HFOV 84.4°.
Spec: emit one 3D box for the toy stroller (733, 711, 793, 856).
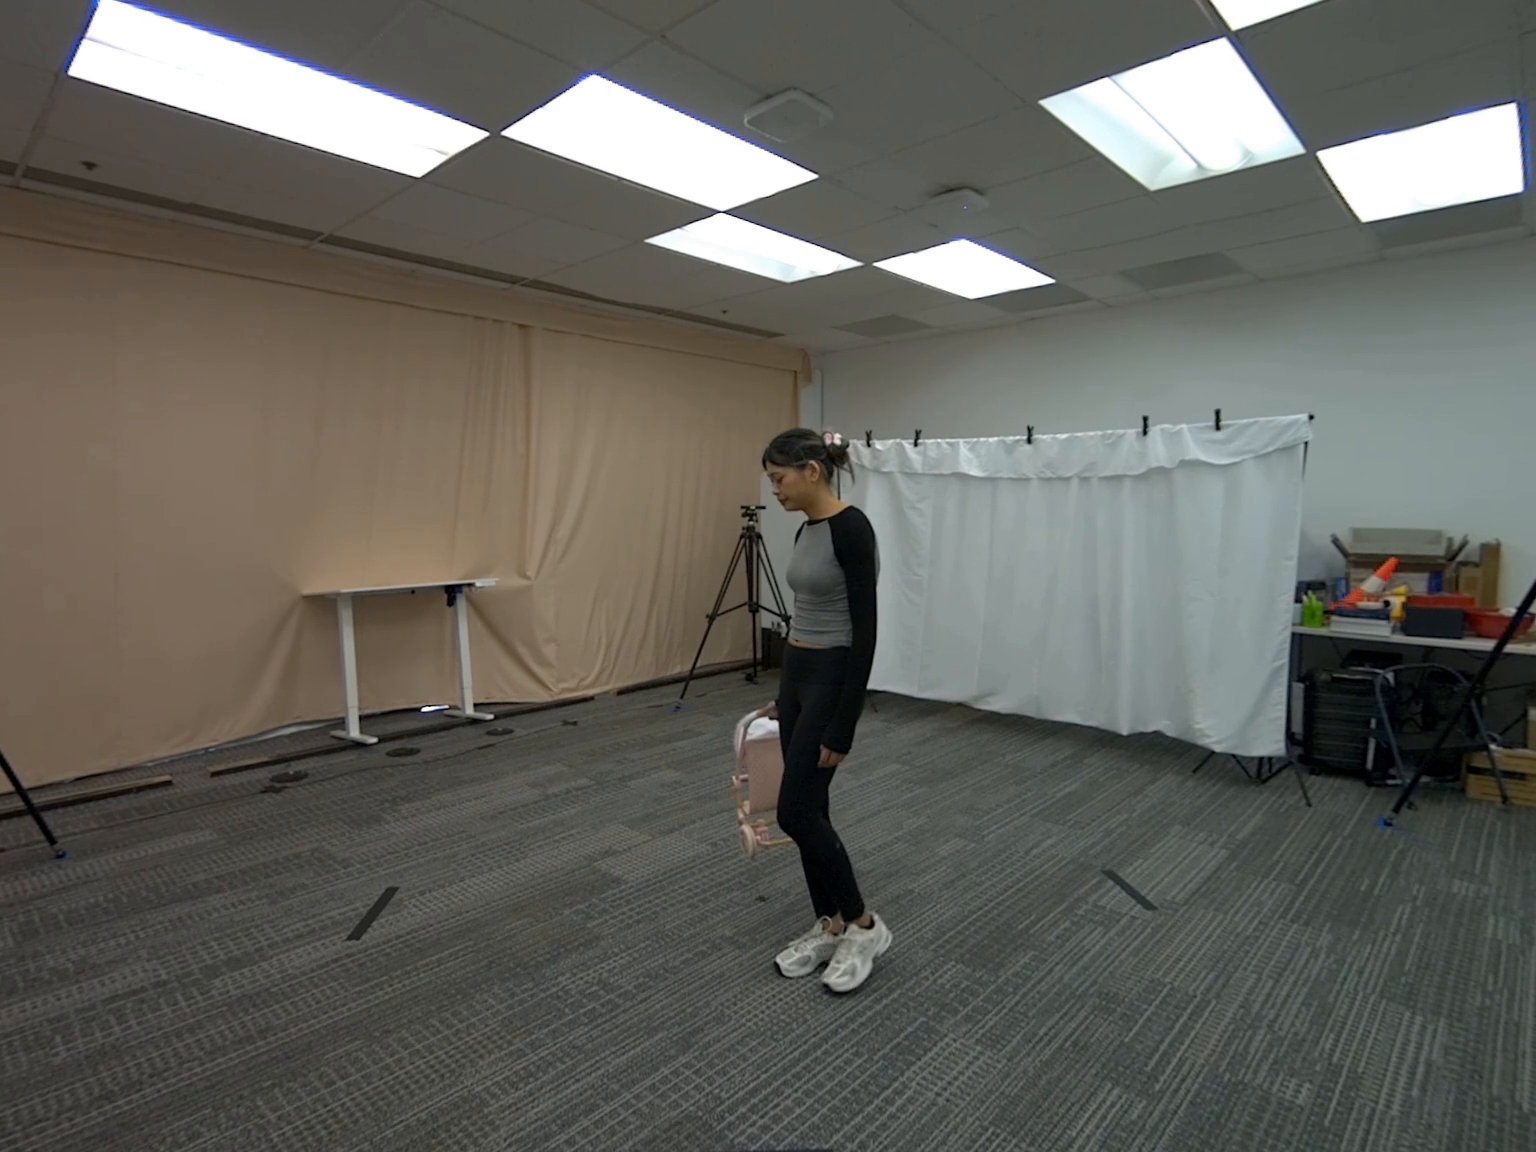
[{"bbox_3d":[0.006,0.705,2.902,0.278,0.535,0.345,-6,-1,-13],"label":"toy stroller"}]
